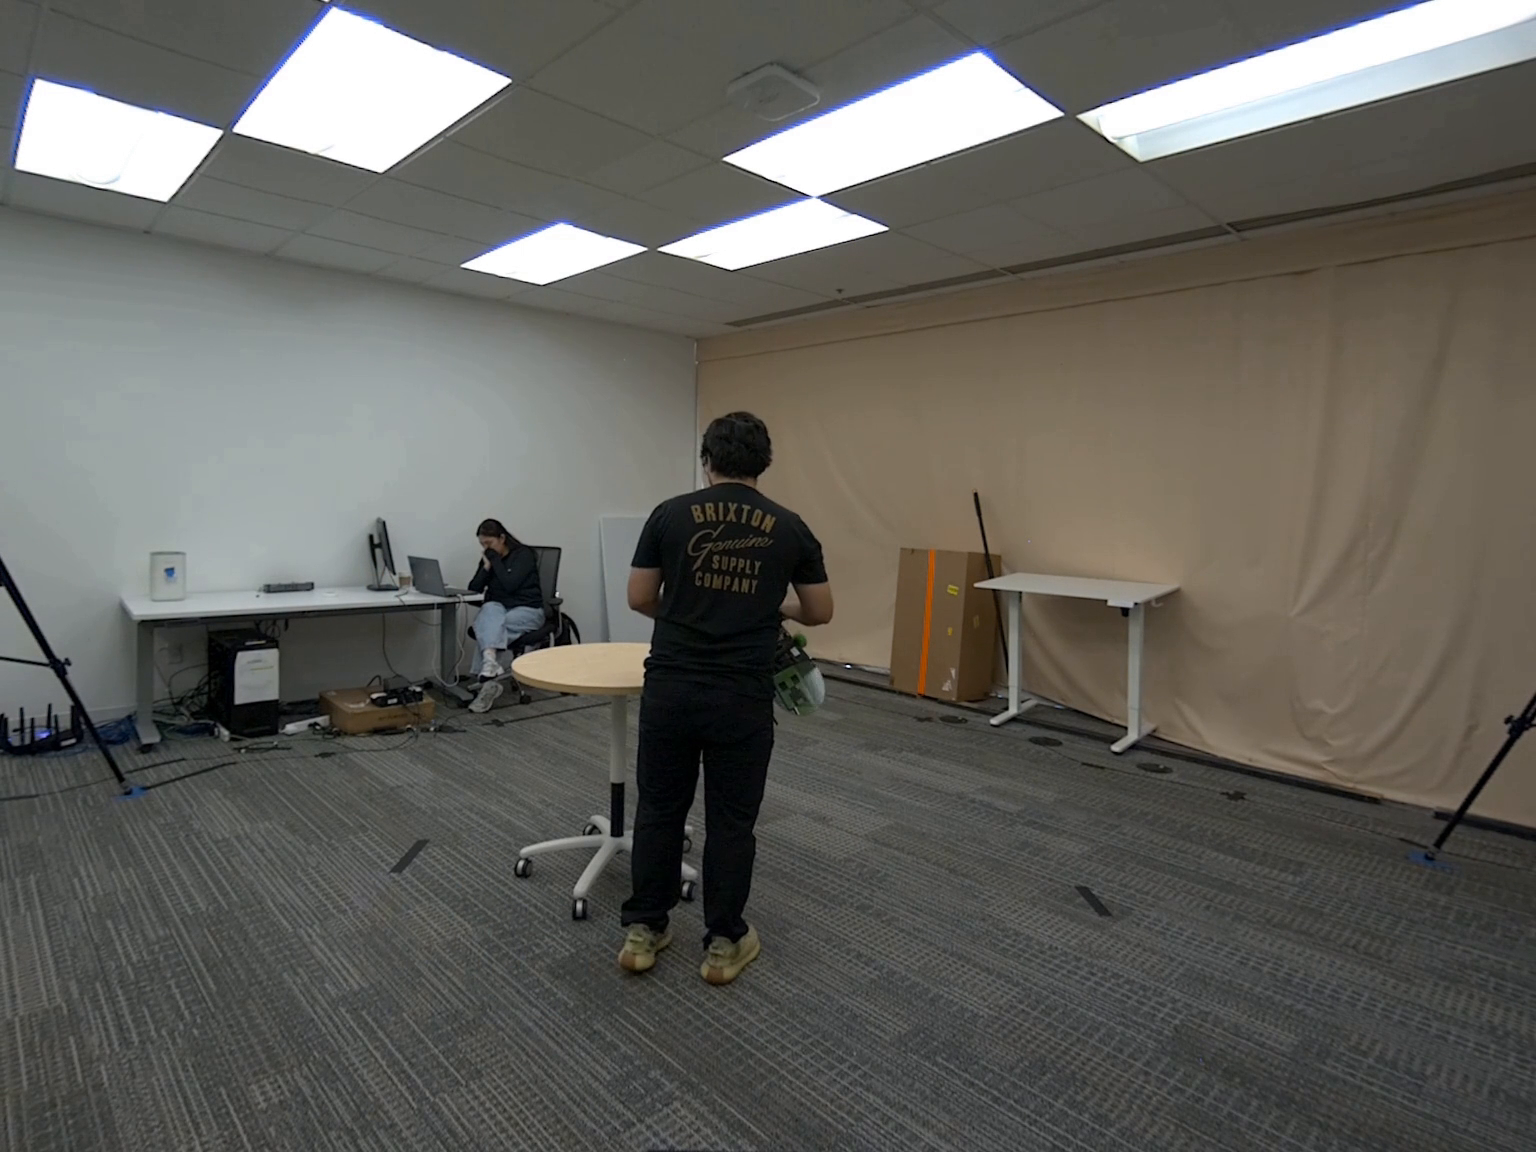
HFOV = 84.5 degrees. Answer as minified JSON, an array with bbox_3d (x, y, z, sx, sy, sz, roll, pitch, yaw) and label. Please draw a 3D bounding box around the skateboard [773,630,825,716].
[{"bbox_3d":[-0.092,0.118,2.707,0.192,0.804,0.109,-28,-26,-27],"label":"skateboard"}]
